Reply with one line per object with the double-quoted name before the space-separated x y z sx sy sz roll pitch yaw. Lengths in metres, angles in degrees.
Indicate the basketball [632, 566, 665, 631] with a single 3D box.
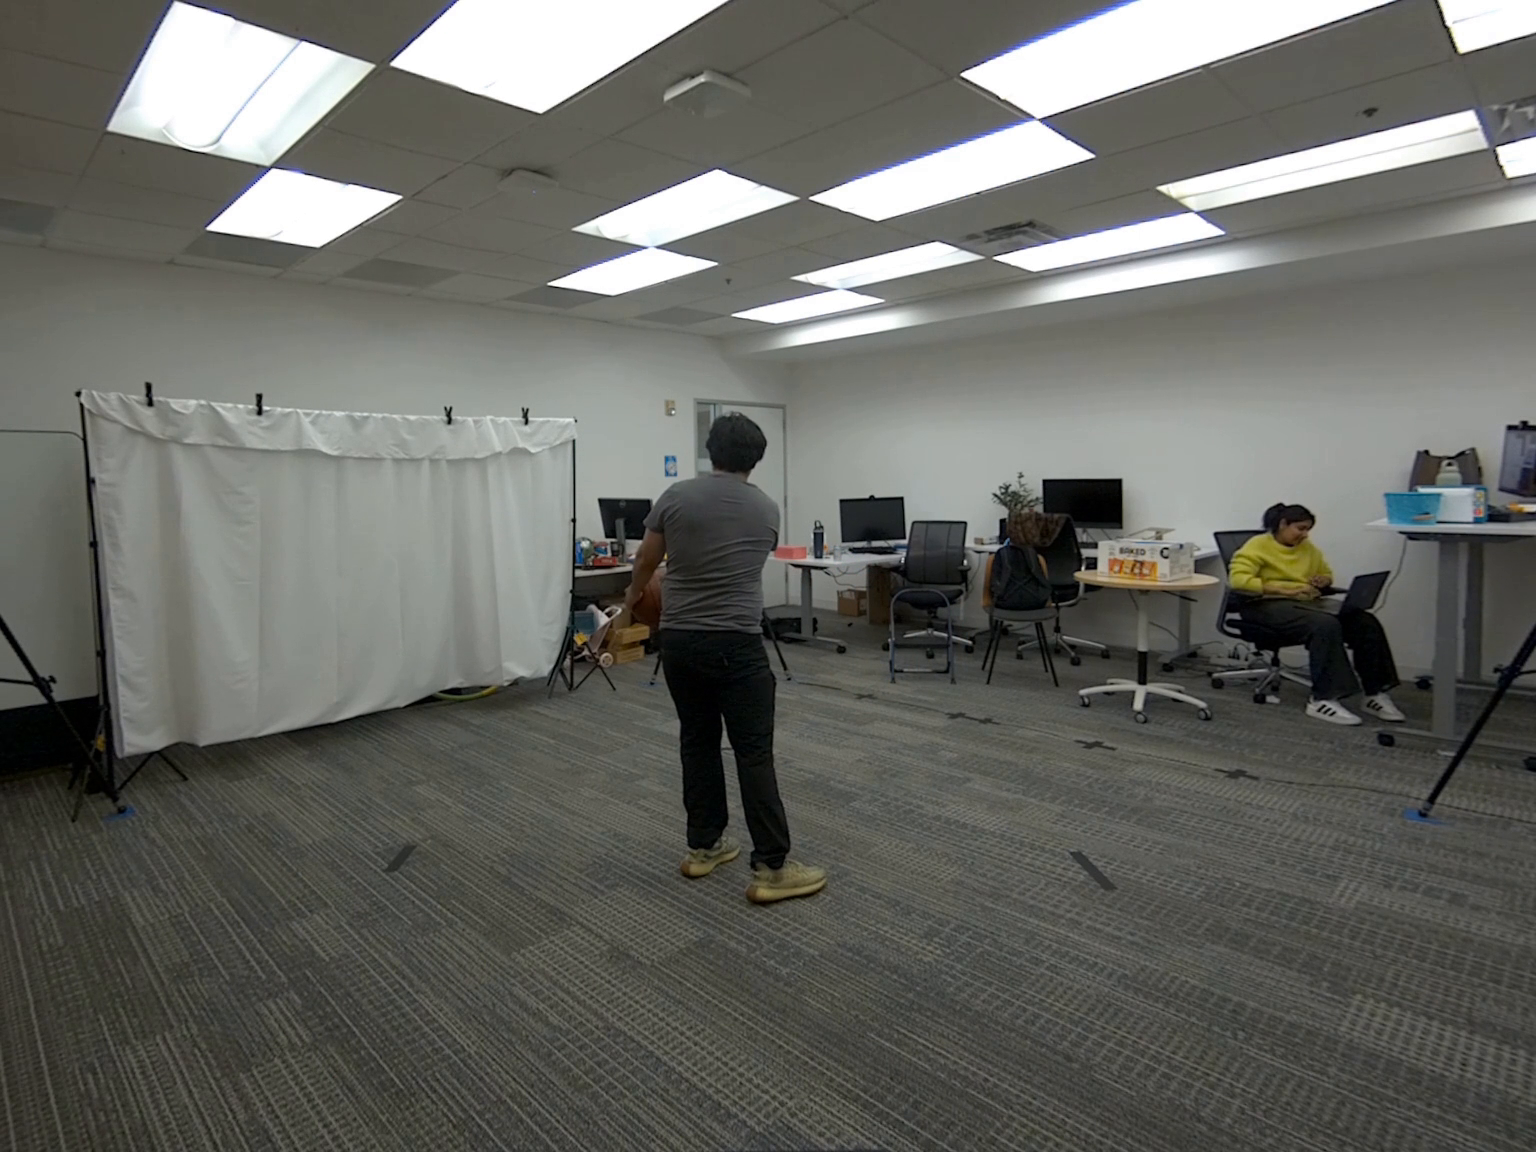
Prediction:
"basketball" -0.450 0.091 3.486 0.236 0.235 0.237 -1 5 -2
